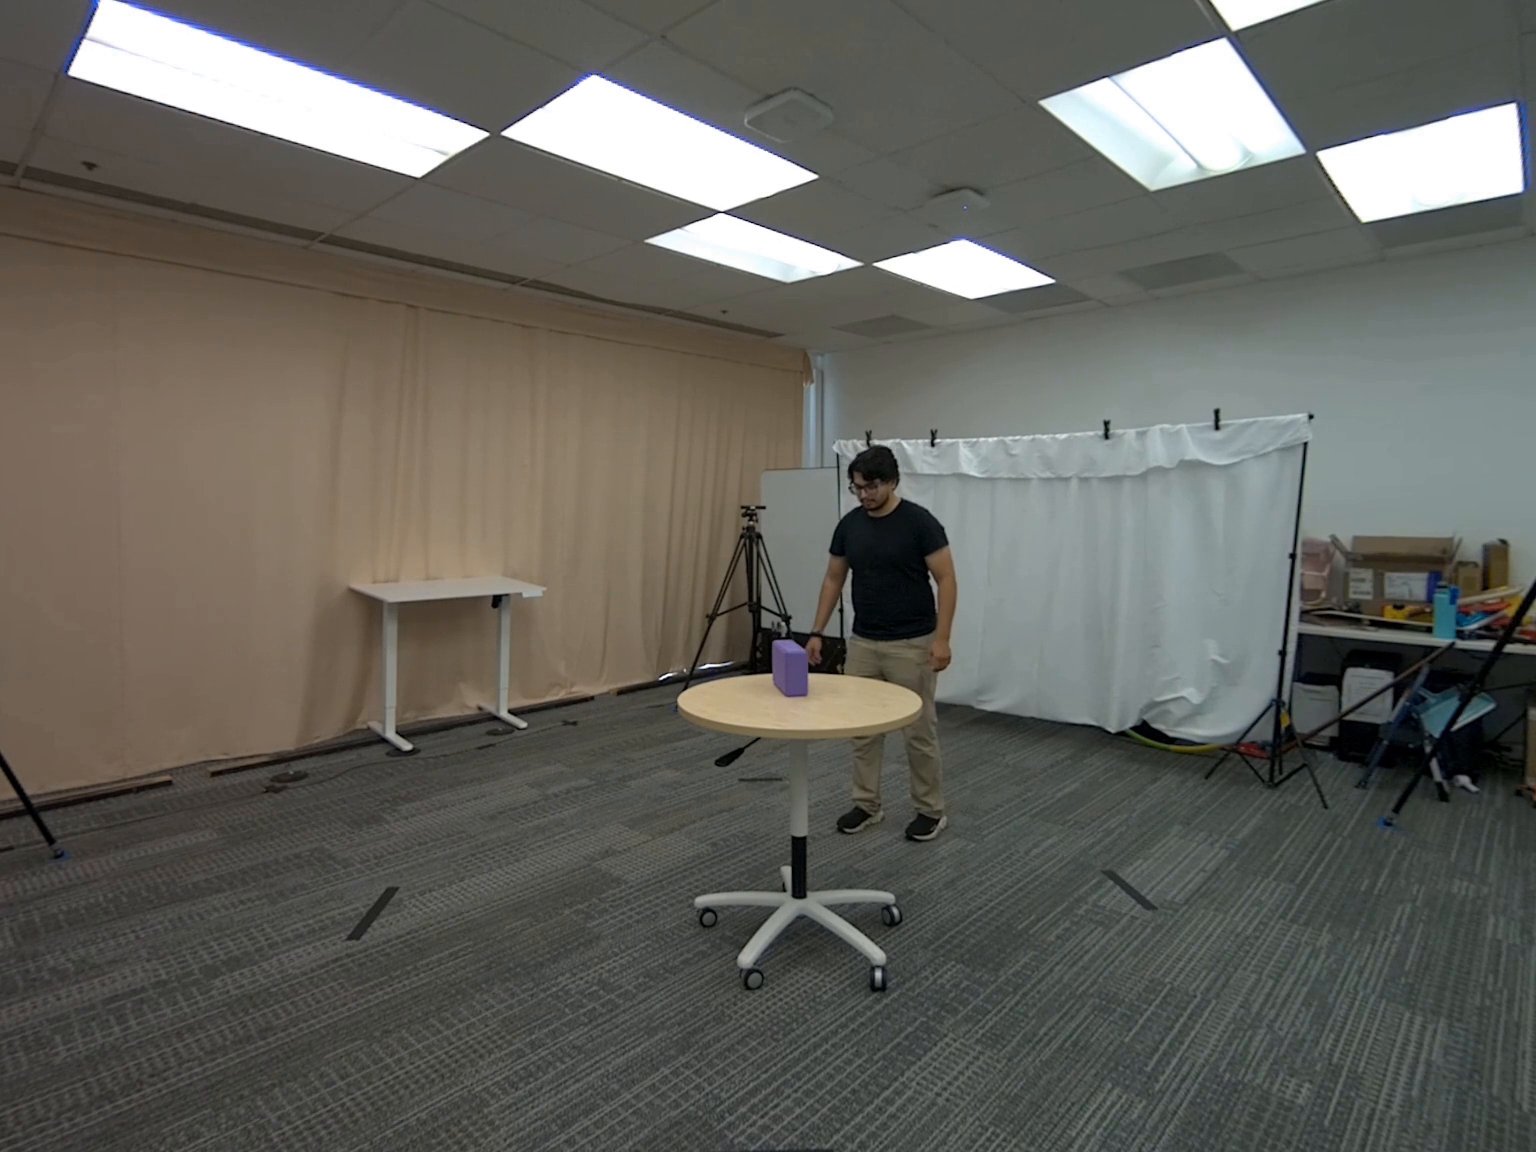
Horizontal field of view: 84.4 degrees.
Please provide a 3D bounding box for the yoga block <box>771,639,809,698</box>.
[{"bbox_3d":[0.081,0.302,2.781,0.076,0.149,0.231,0,4,-7],"label":"yoga block"}]
